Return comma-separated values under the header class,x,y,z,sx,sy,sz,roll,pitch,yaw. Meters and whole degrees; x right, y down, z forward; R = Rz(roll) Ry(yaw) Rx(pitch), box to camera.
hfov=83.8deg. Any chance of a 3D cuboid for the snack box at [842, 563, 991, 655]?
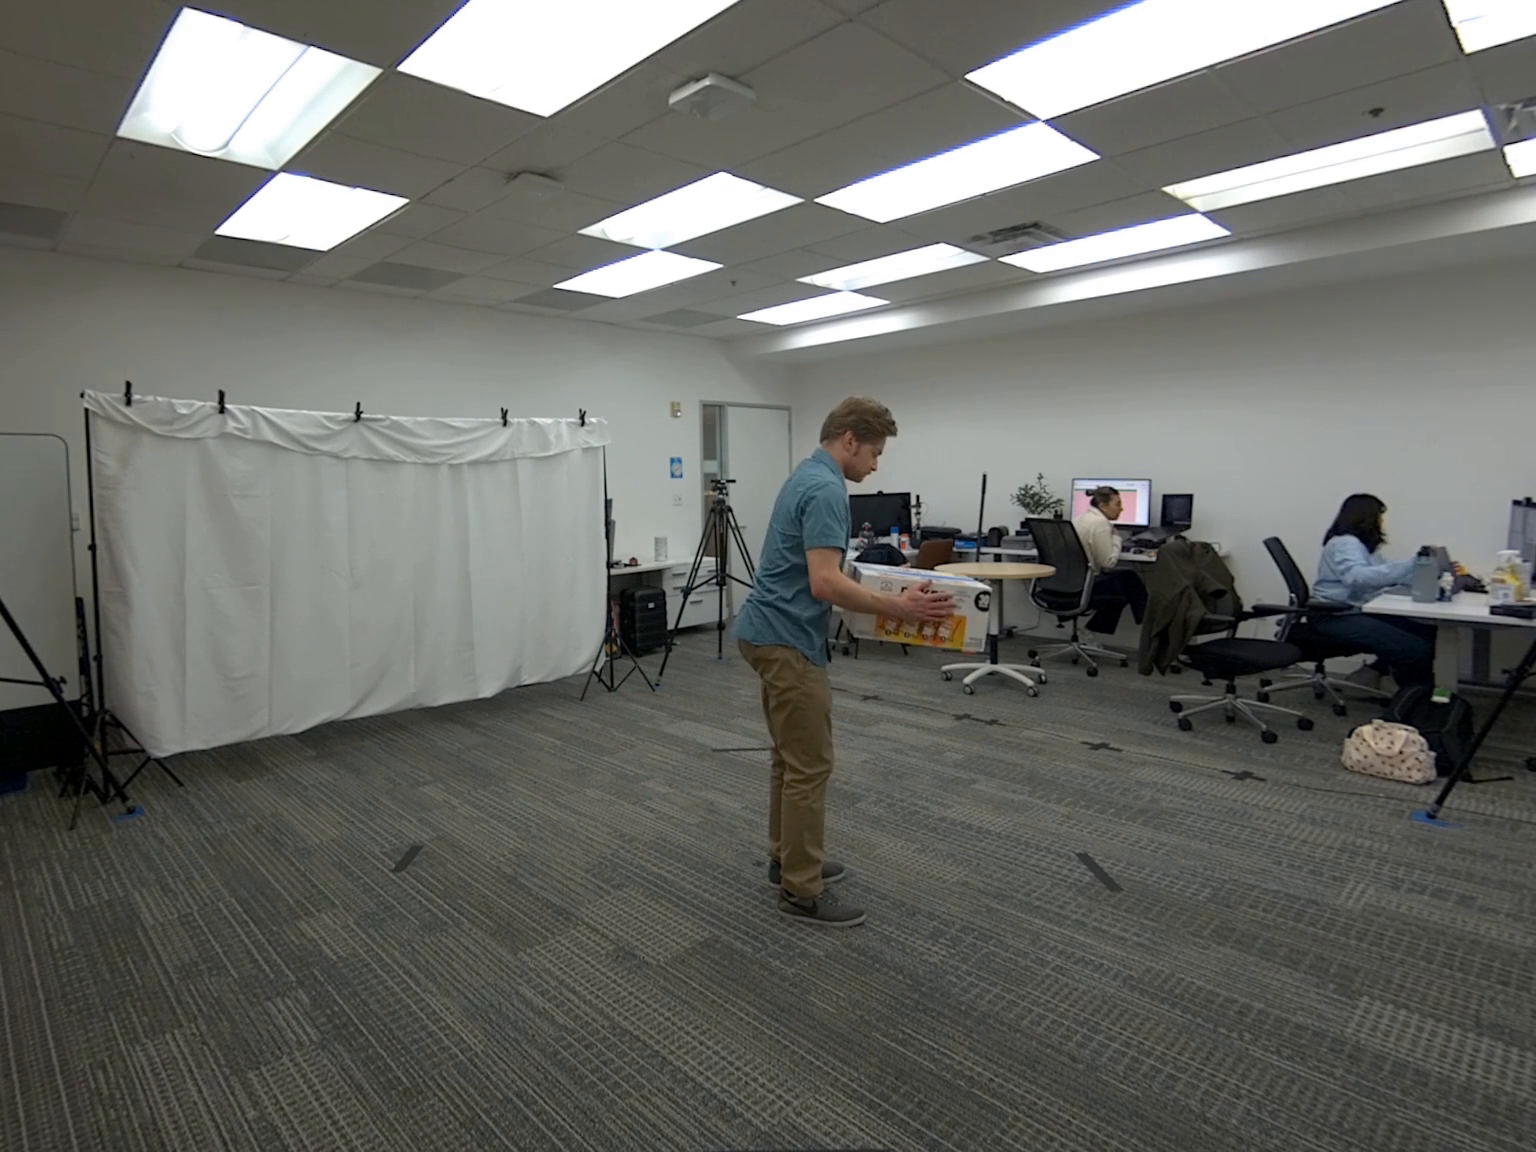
class,x,y,z,sx,sy,sz,roll,pitch,yaw
snack box,0.466,0.102,2.796,0.405,0.205,0.342,6,7,-1
